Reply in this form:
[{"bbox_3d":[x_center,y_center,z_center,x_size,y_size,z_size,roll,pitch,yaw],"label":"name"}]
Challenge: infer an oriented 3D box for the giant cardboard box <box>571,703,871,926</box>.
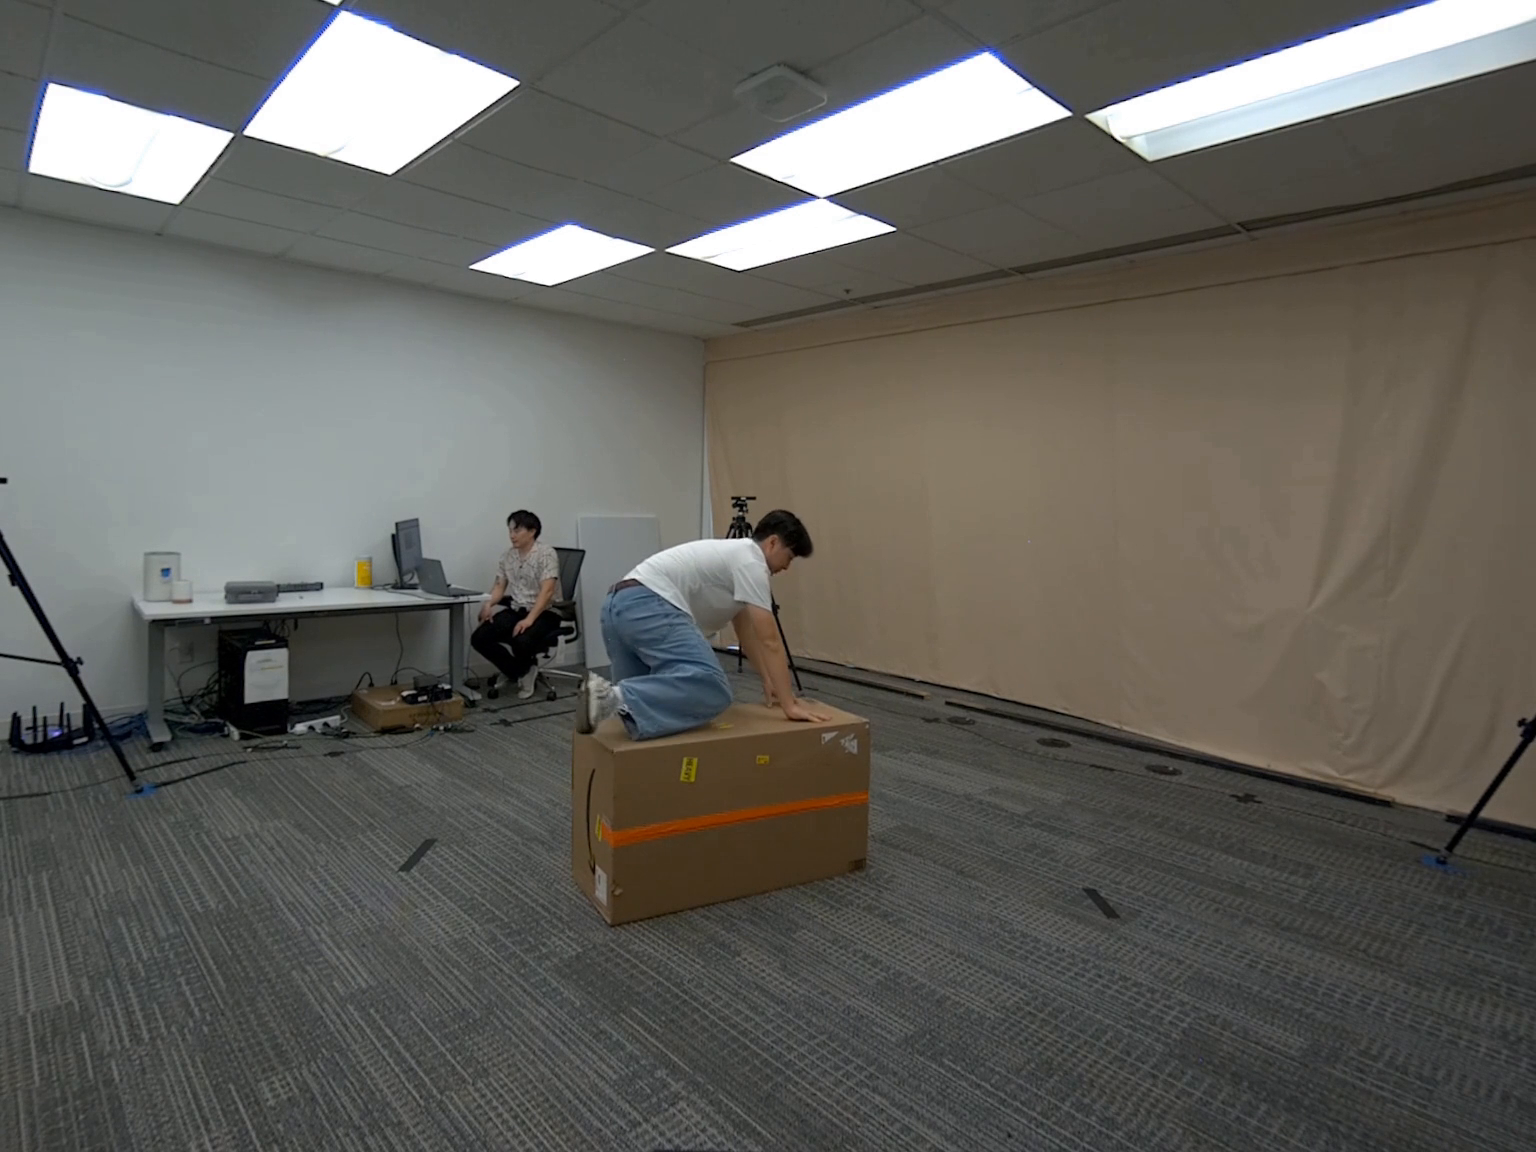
[{"bbox_3d":[-0.170,0.821,3.108,1.006,0.576,0.435,-1,4,-28],"label":"giant cardboard box"}]
